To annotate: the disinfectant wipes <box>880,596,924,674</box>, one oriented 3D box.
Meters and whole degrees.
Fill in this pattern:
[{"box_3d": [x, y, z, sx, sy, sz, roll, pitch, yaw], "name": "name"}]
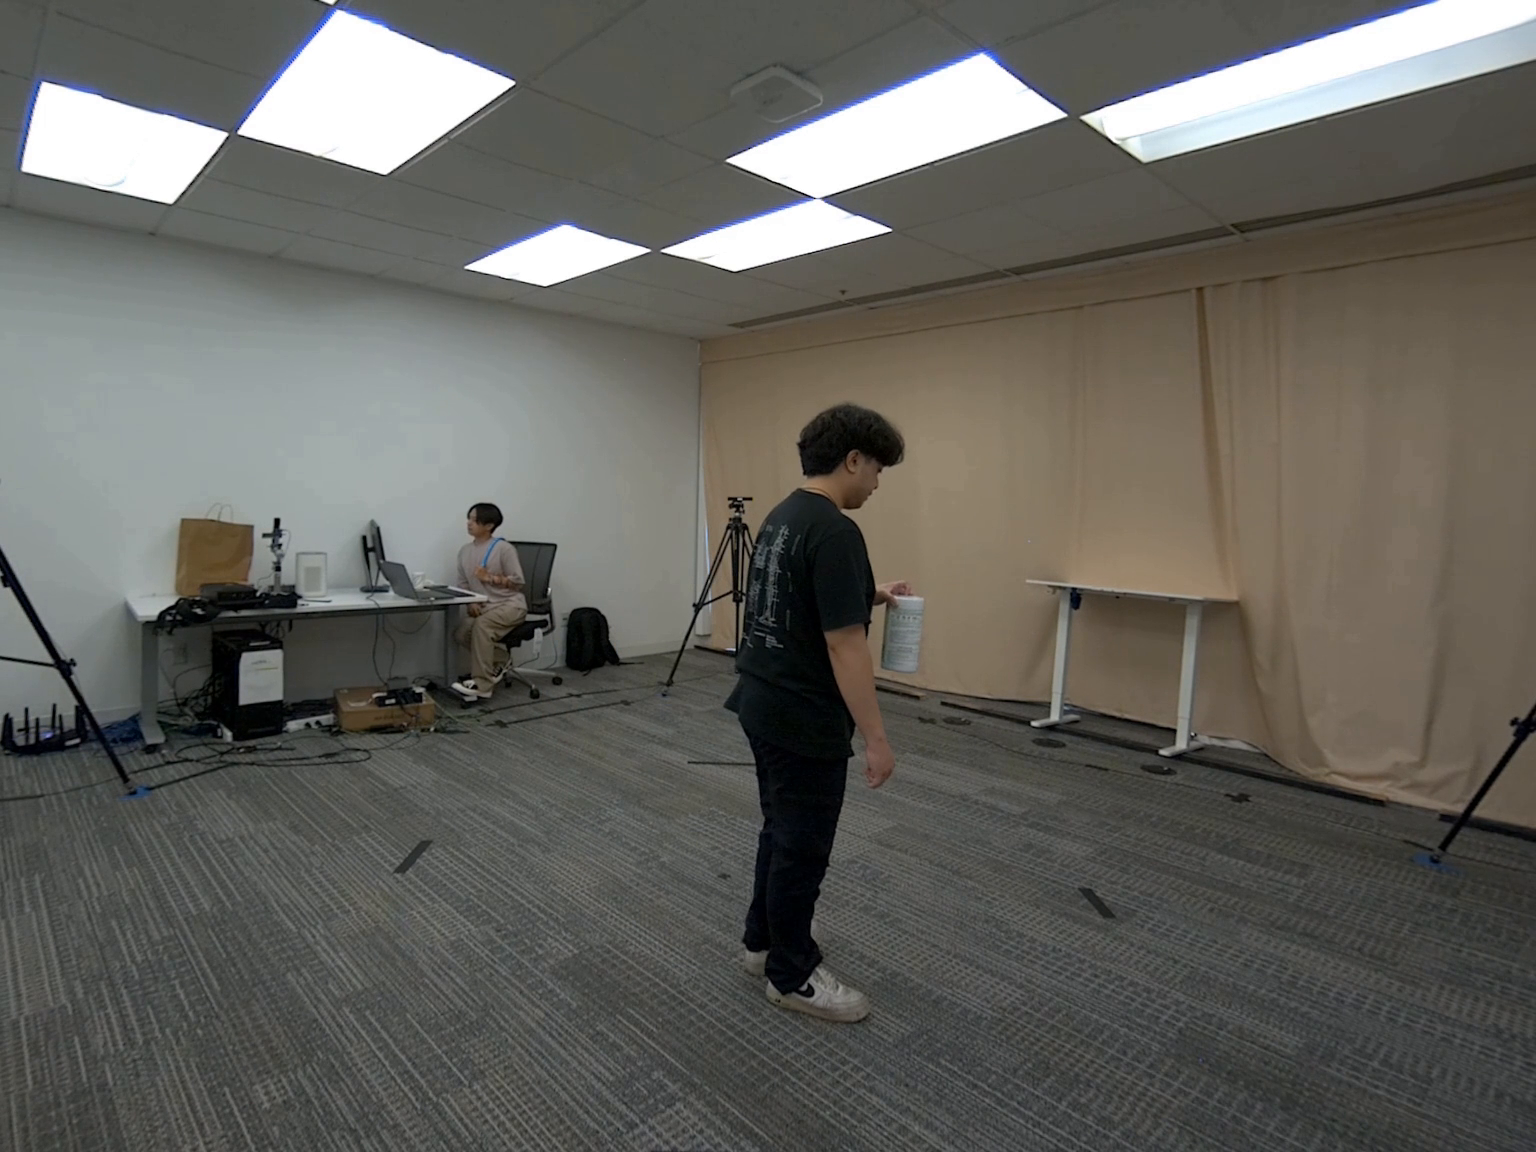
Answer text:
[{"box_3d": [0.379, 0.167, 2.453, 0.118, 0.217, 0.118, 4, 3, -2], "name": "disinfectant wipes"}]
